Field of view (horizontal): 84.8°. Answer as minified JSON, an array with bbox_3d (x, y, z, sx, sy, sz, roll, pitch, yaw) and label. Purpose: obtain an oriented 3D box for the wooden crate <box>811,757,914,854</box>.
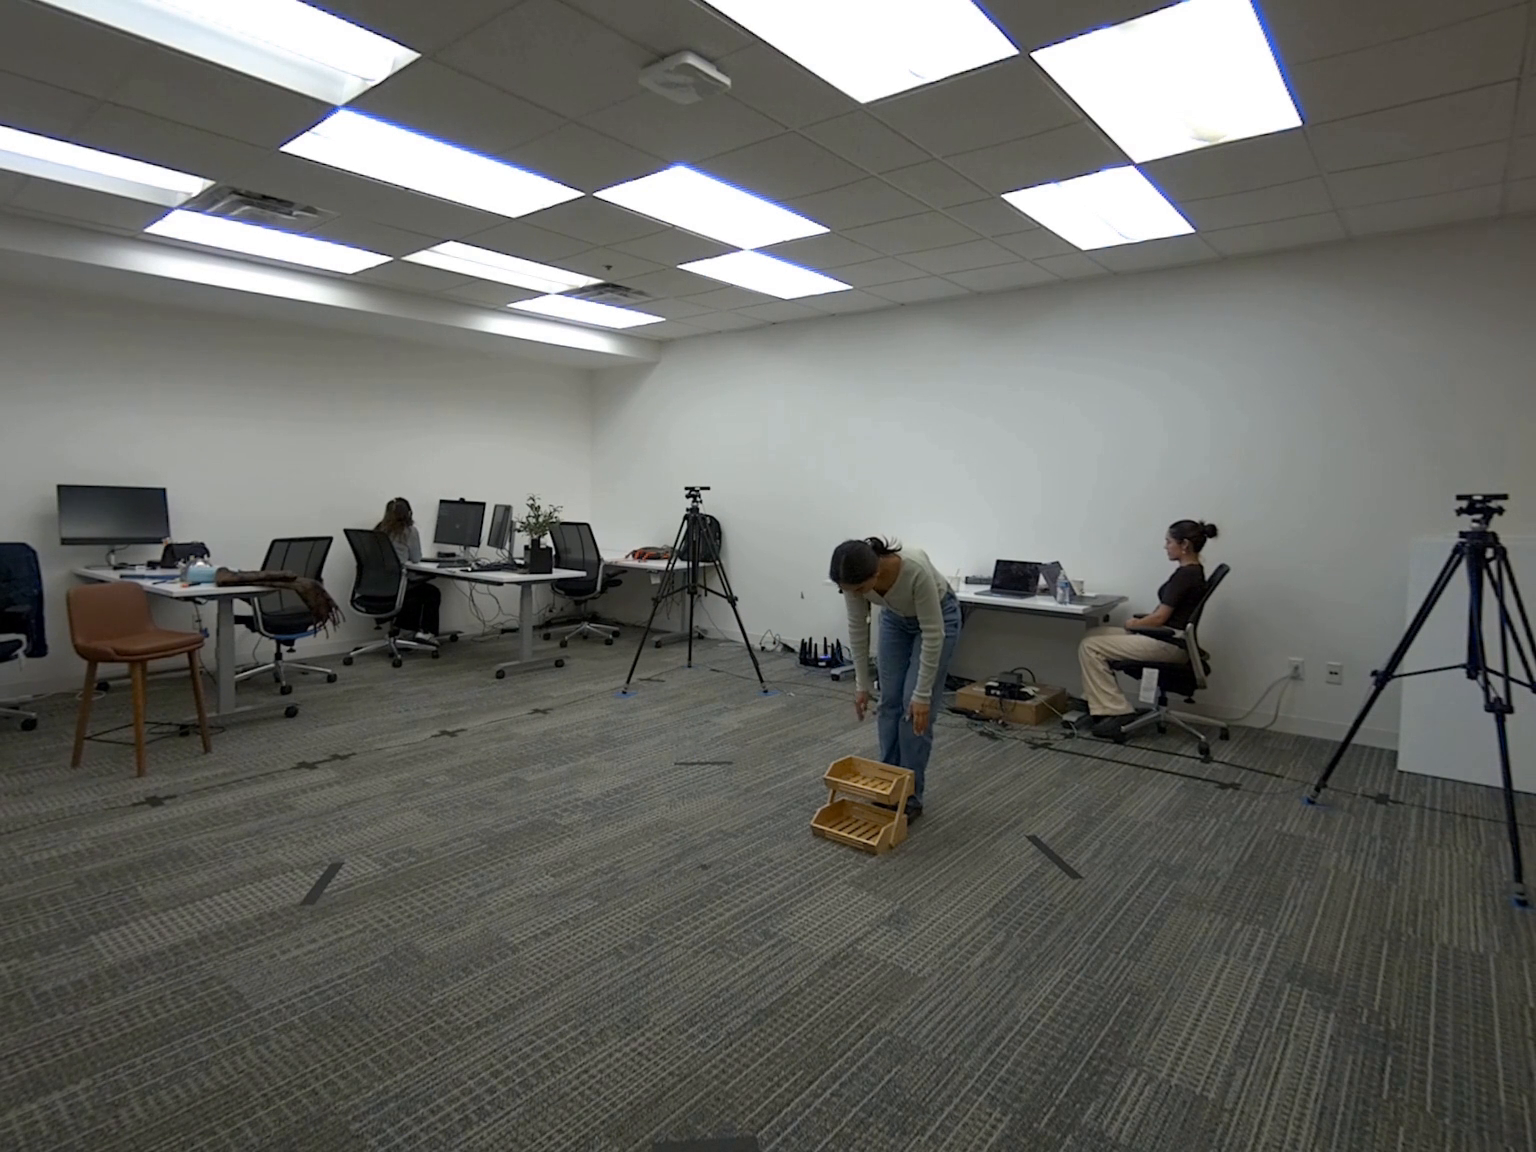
[{"bbox_3d":[0.374,0.908,3.432,0.335,0.272,0.293,4,5,38],"label":"wooden crate"}]
